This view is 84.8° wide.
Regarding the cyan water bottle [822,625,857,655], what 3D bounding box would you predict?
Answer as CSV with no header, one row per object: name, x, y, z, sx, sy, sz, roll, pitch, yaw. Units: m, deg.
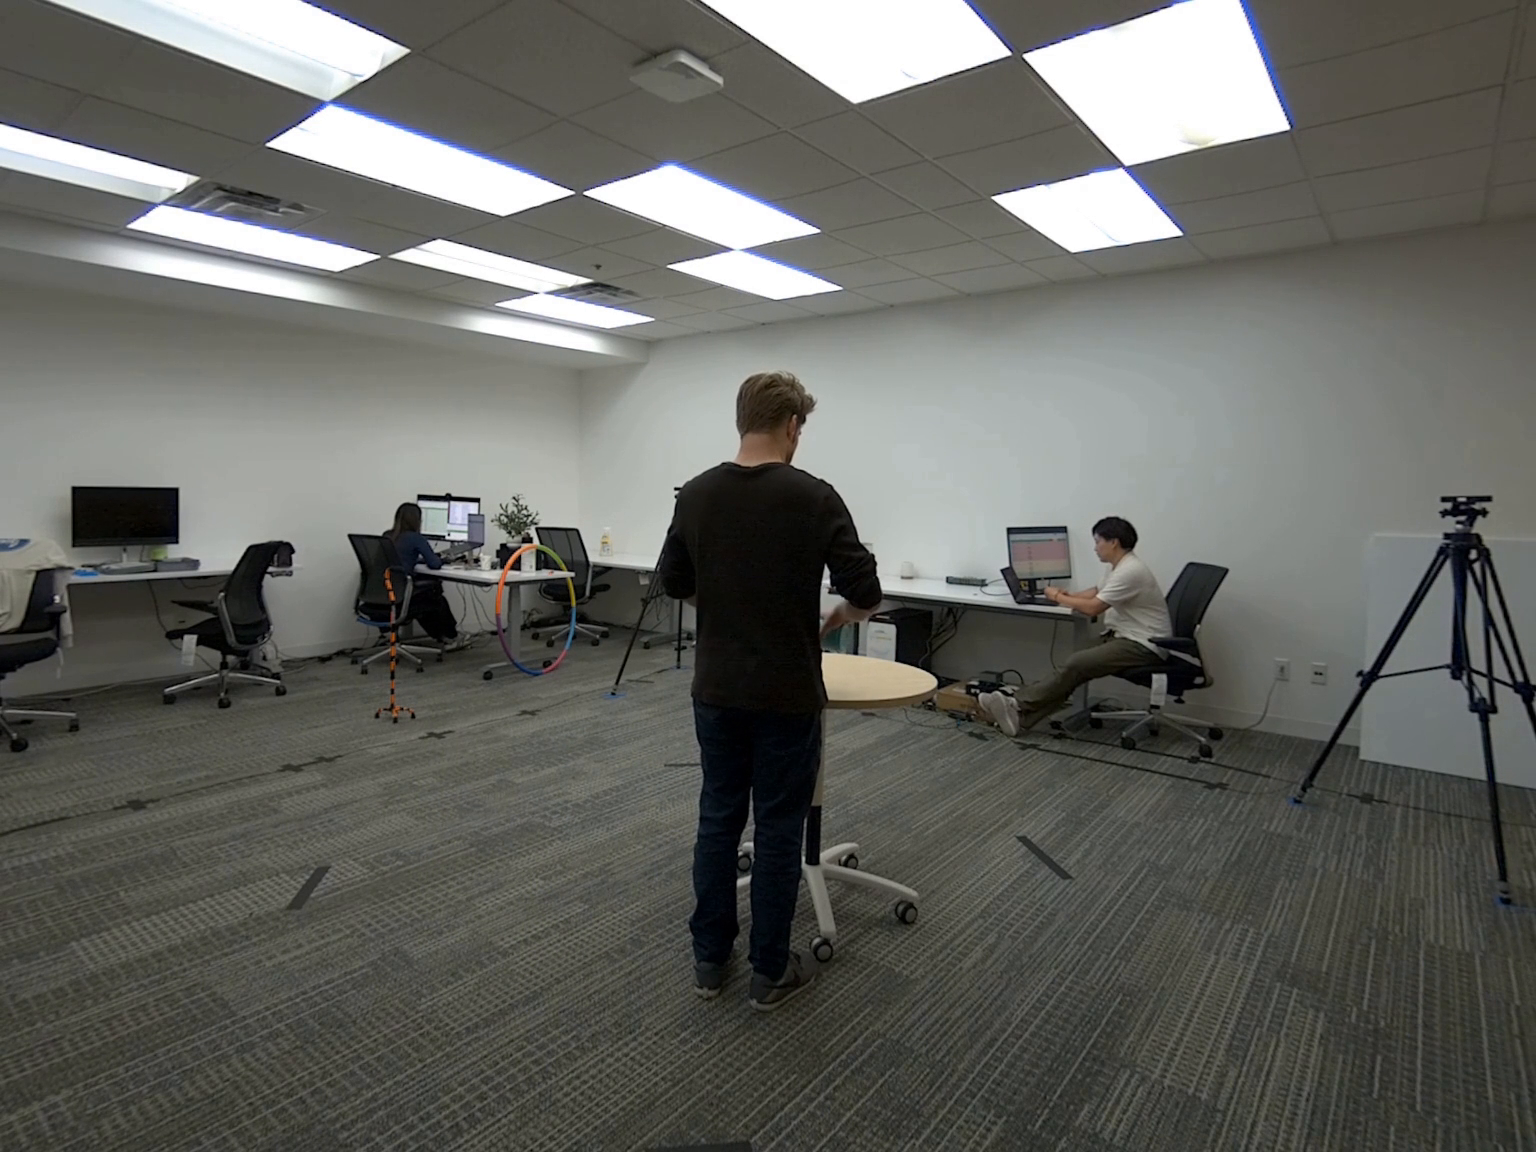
cyan water bottle,0.099,0.169,2.566,0.291,0.092,0.090,6,6,25
